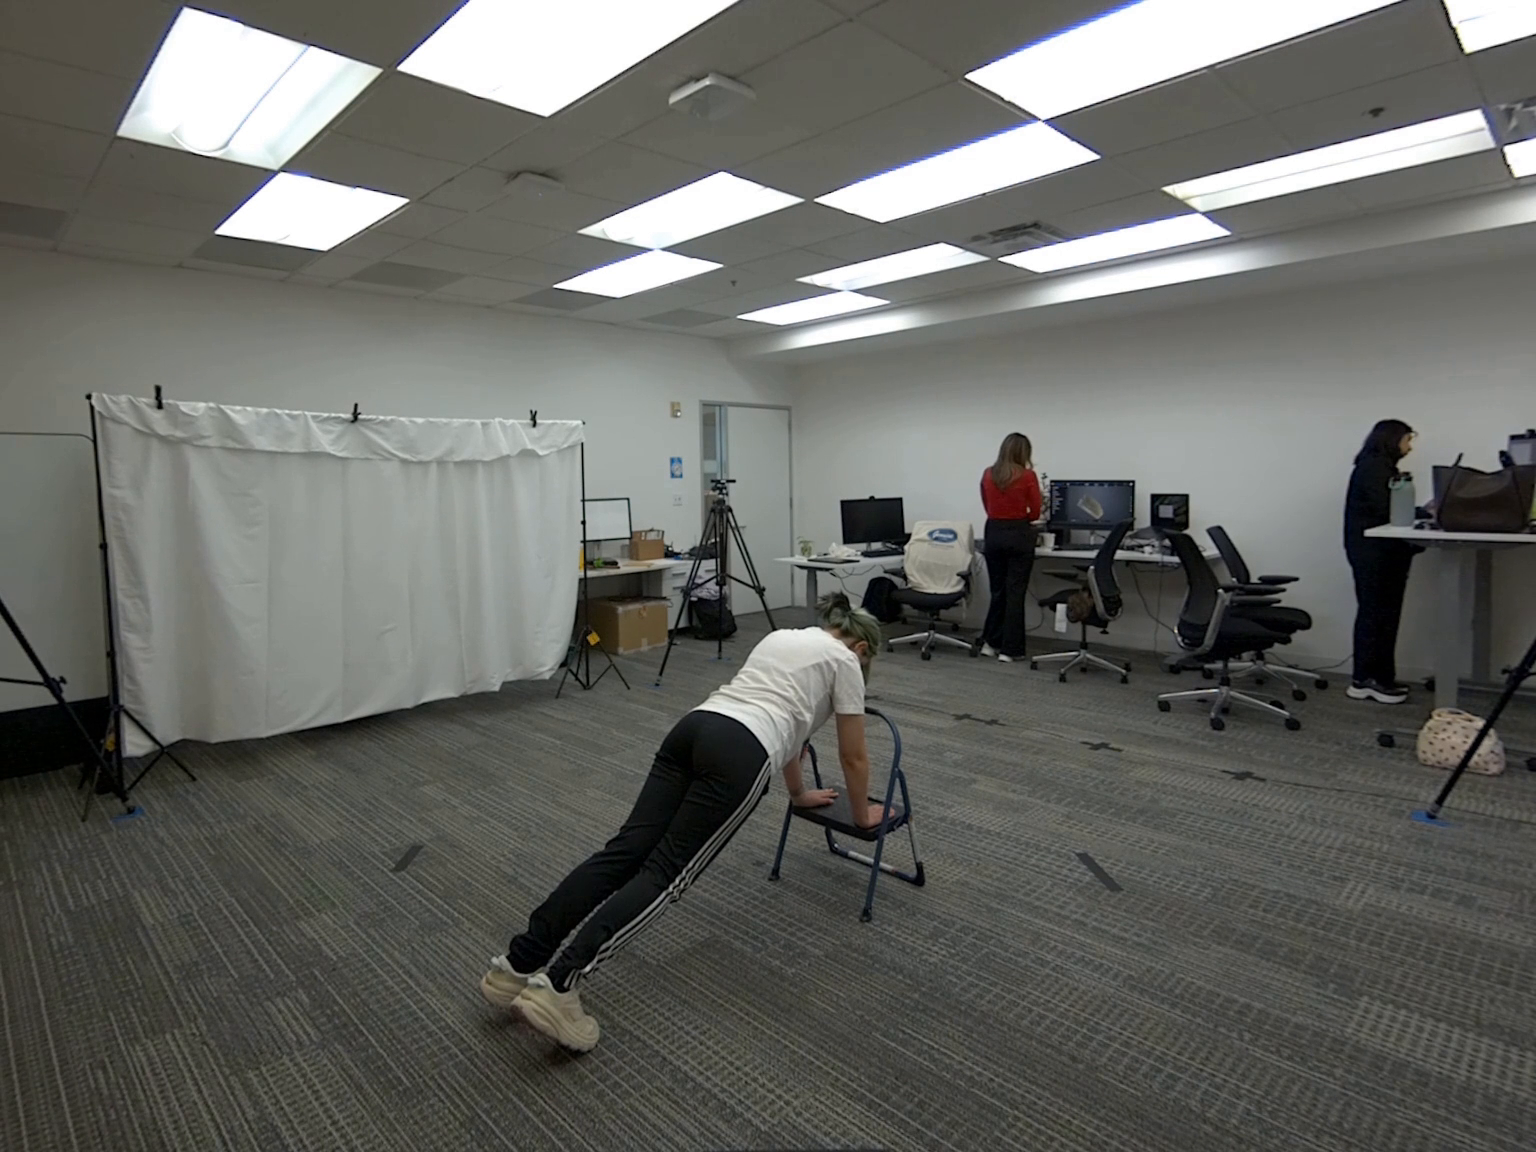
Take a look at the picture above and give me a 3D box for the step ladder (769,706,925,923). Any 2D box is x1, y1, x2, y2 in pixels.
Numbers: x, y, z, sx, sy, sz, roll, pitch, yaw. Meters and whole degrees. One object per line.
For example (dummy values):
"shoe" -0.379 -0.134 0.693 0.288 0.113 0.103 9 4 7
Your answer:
"step ladder" 0.271 0.758 2.939 0.444 0.604 0.340 4 6 45
